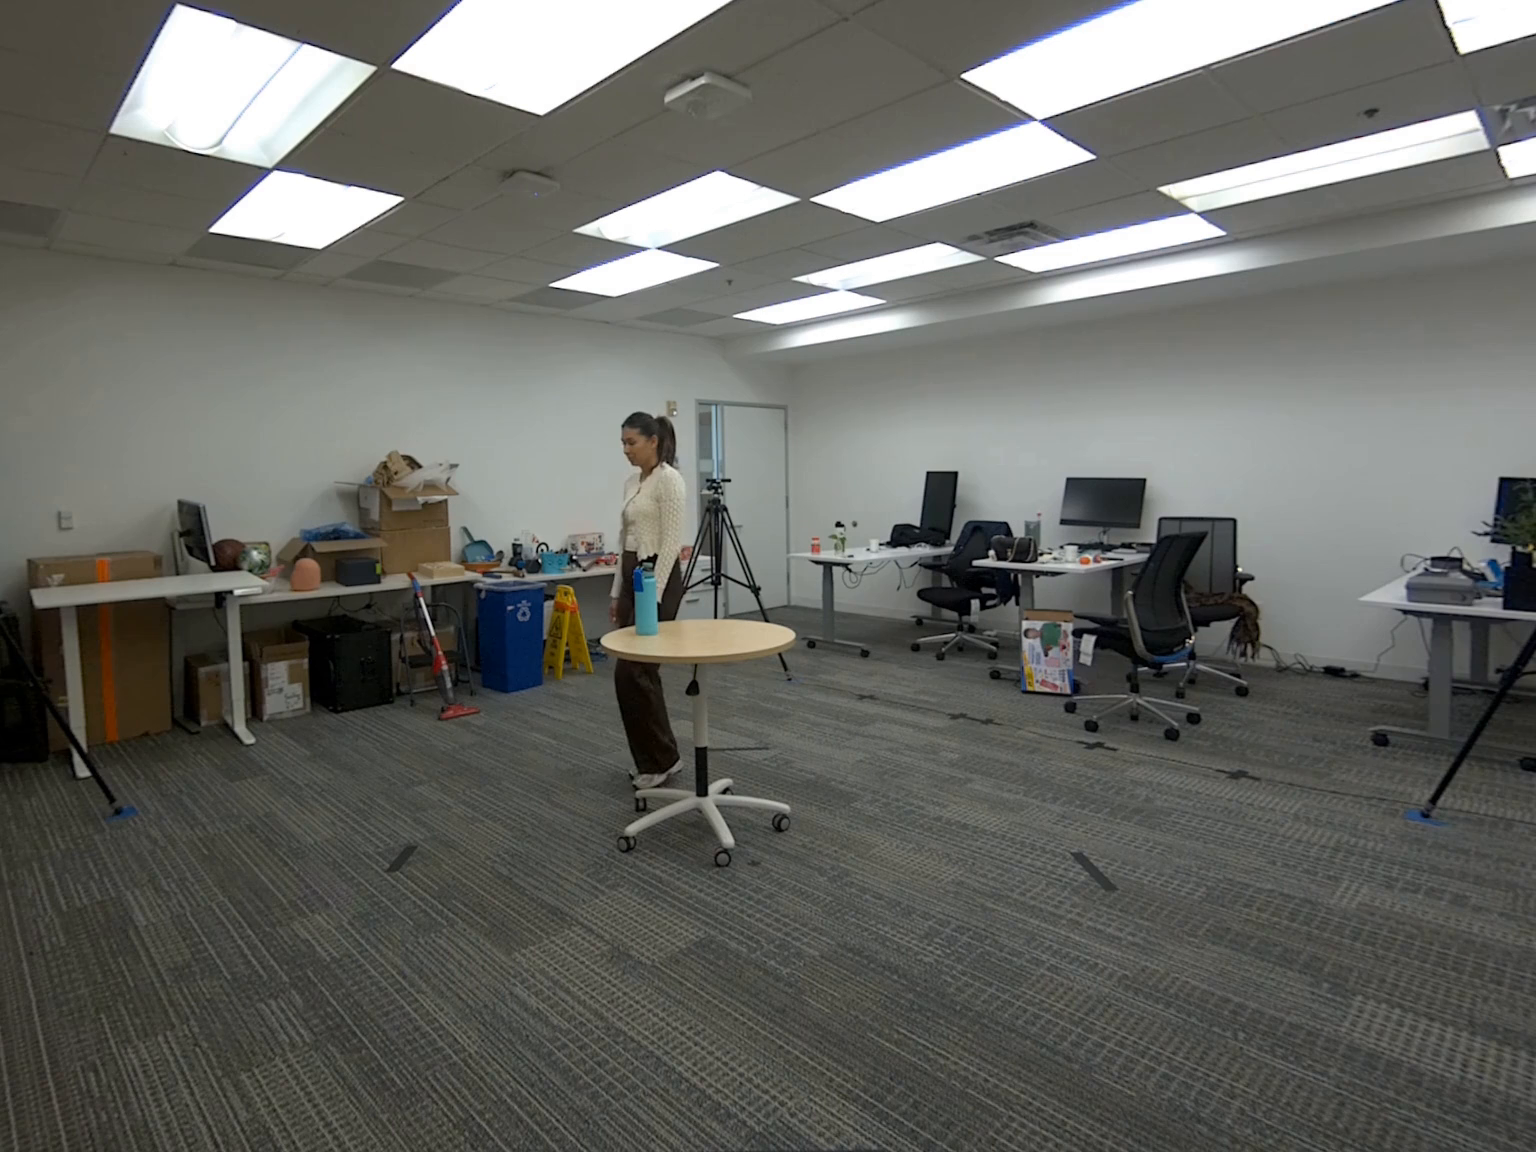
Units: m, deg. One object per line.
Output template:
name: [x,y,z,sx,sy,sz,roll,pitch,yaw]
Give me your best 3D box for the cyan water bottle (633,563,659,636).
cyan water bottle: [-0.502,0.096,3.440,0.092,0.282,0.093,-3,5,-1]
